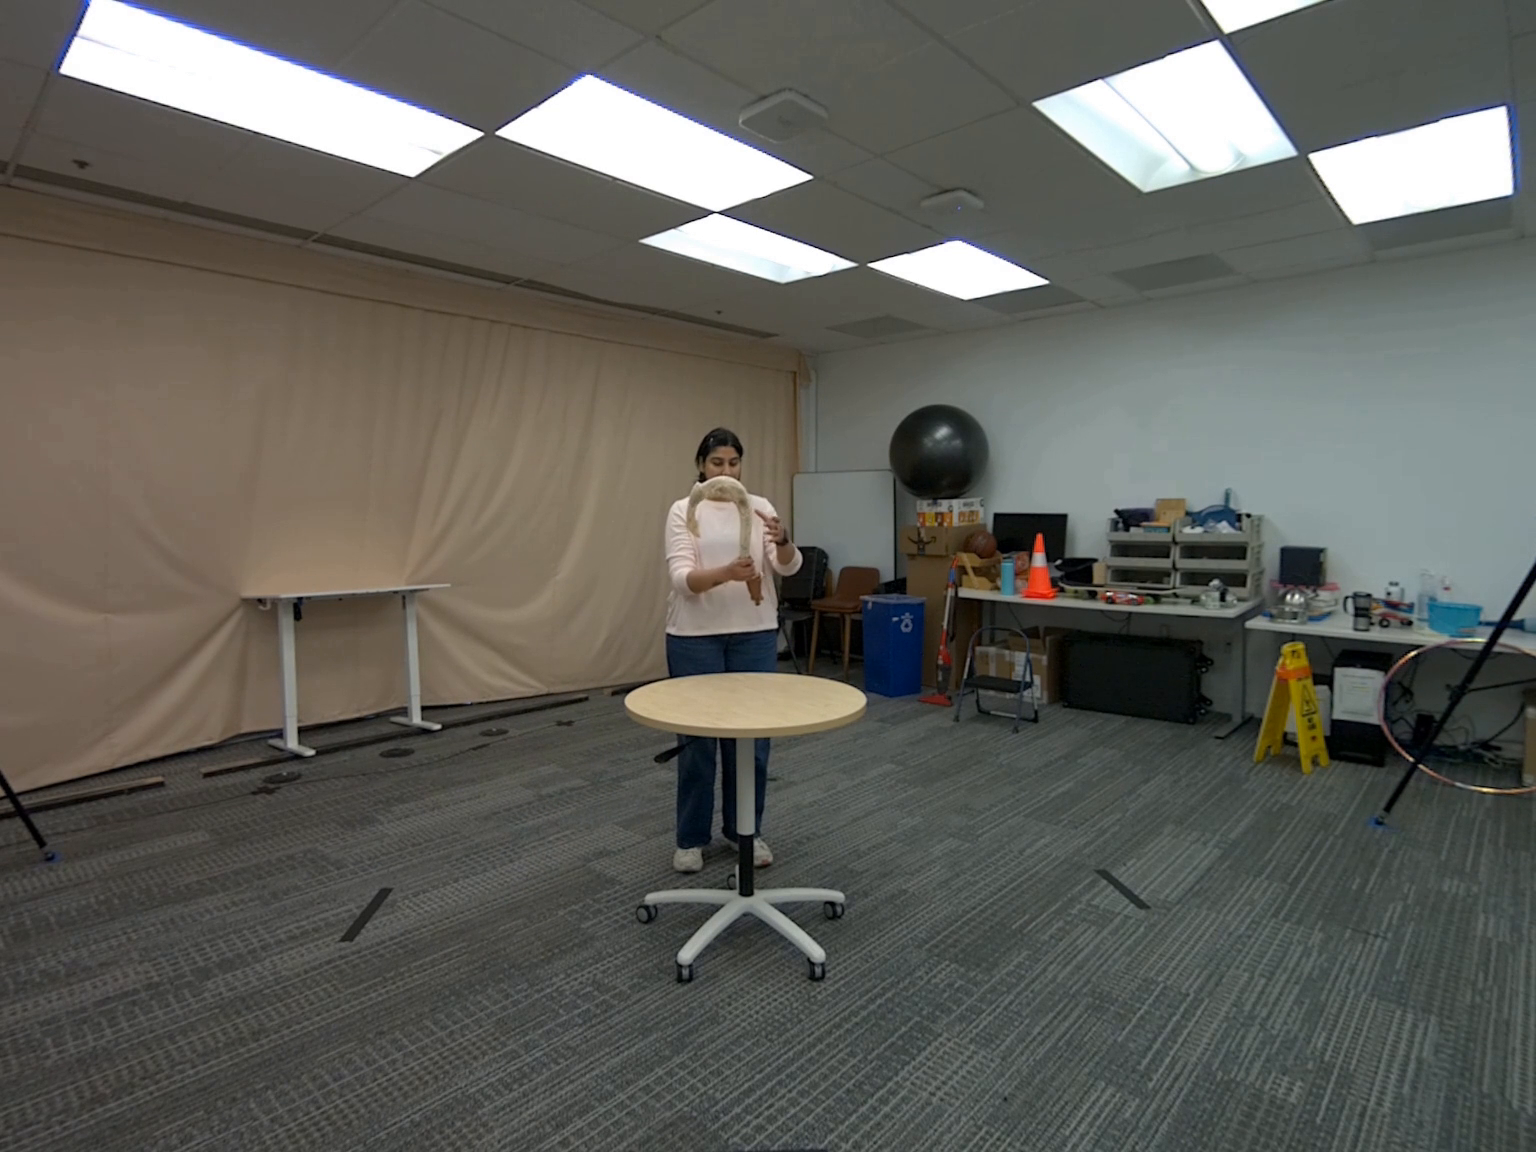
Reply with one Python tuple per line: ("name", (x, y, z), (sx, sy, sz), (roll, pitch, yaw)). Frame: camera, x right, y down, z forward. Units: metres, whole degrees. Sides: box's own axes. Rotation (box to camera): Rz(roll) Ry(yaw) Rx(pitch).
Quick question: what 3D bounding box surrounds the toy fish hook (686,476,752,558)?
("toy fish hook", (-0.131, -0.103, 2.874), (0.225, 0.496, 0.049), (-12, 26, 4))
